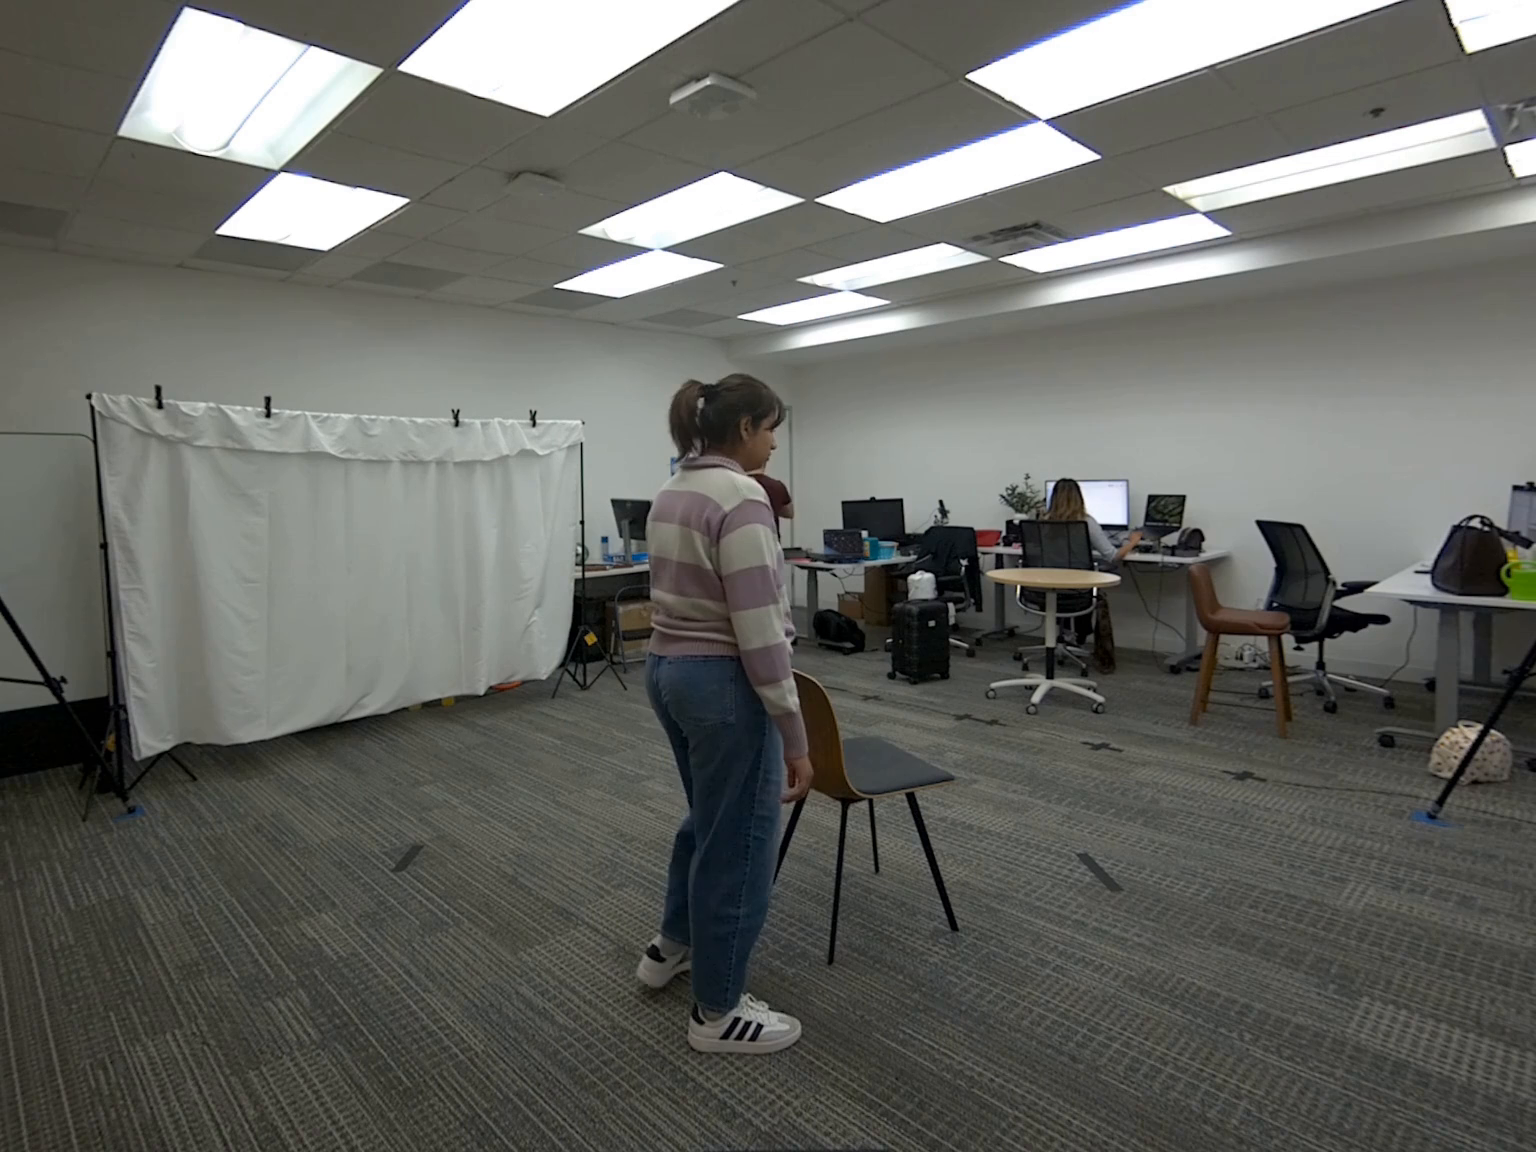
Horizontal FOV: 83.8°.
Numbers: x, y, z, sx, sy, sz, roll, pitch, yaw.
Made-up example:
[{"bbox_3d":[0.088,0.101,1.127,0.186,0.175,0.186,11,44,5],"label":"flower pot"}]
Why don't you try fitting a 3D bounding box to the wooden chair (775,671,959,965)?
[{"bbox_3d":[0.289,0.660,2.713,0.513,0.873,0.490,-7,6,-24],"label":"wooden chair"}]
